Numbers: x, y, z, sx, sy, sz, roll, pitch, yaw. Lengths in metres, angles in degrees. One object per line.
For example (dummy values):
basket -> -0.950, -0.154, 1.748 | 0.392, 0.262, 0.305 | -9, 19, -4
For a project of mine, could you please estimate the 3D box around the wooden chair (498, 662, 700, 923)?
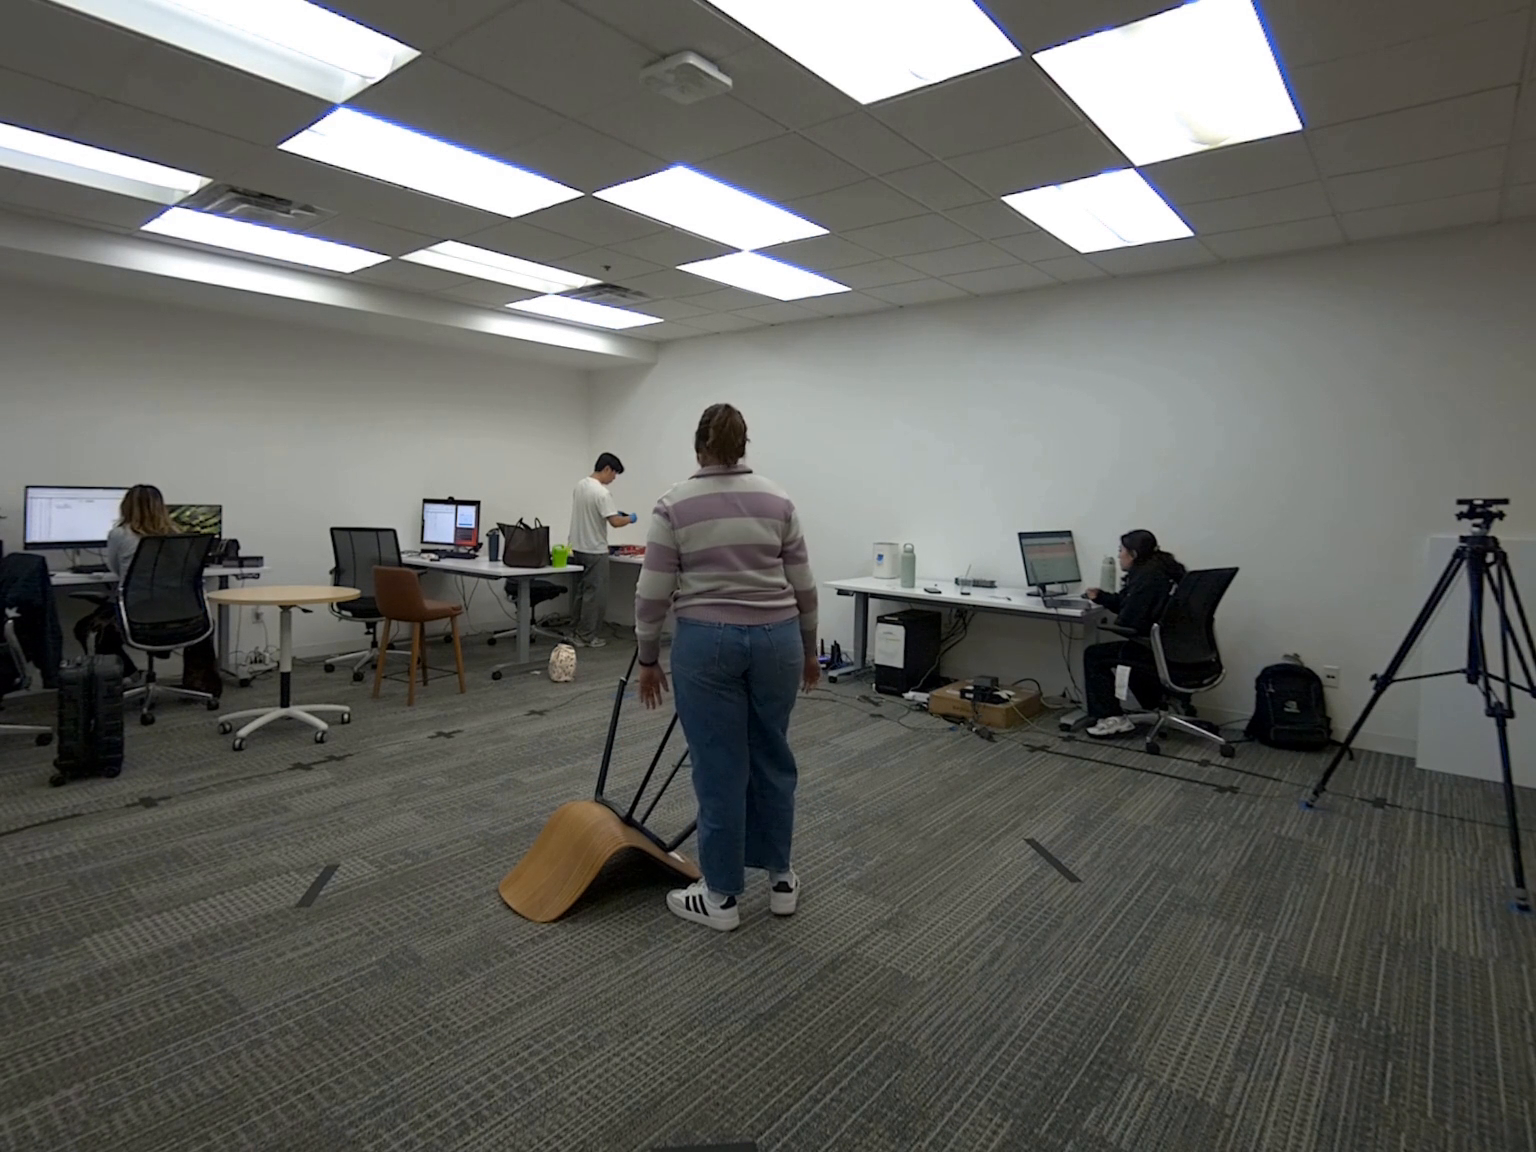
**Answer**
wooden chair -> -0.495, 0.897, 3.077 | 0.494, 0.880, 0.504 | 5, -35, 53
